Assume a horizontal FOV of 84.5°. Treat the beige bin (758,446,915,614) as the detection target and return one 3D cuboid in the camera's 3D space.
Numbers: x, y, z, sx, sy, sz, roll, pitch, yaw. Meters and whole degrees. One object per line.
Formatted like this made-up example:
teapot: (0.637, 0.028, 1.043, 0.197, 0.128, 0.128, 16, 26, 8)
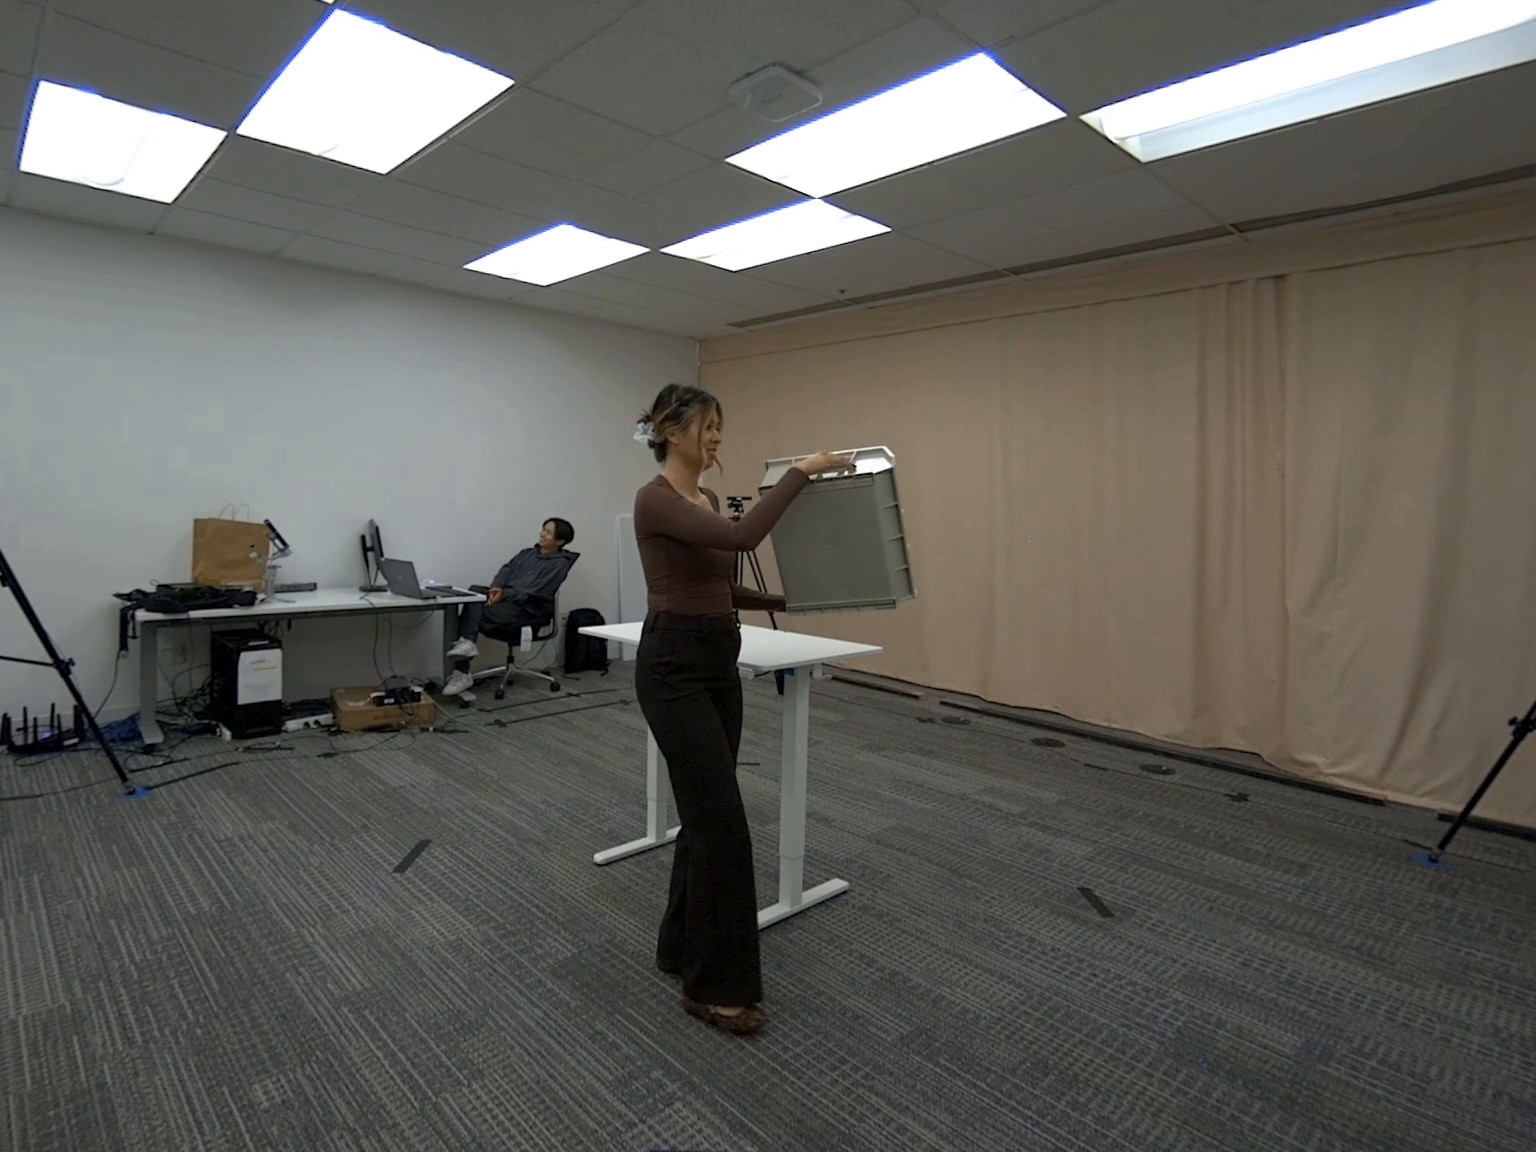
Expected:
beige bin: (0.193, -0.120, 2.364, 0.382, 0.413, 0.190, -6, 26, 18)
